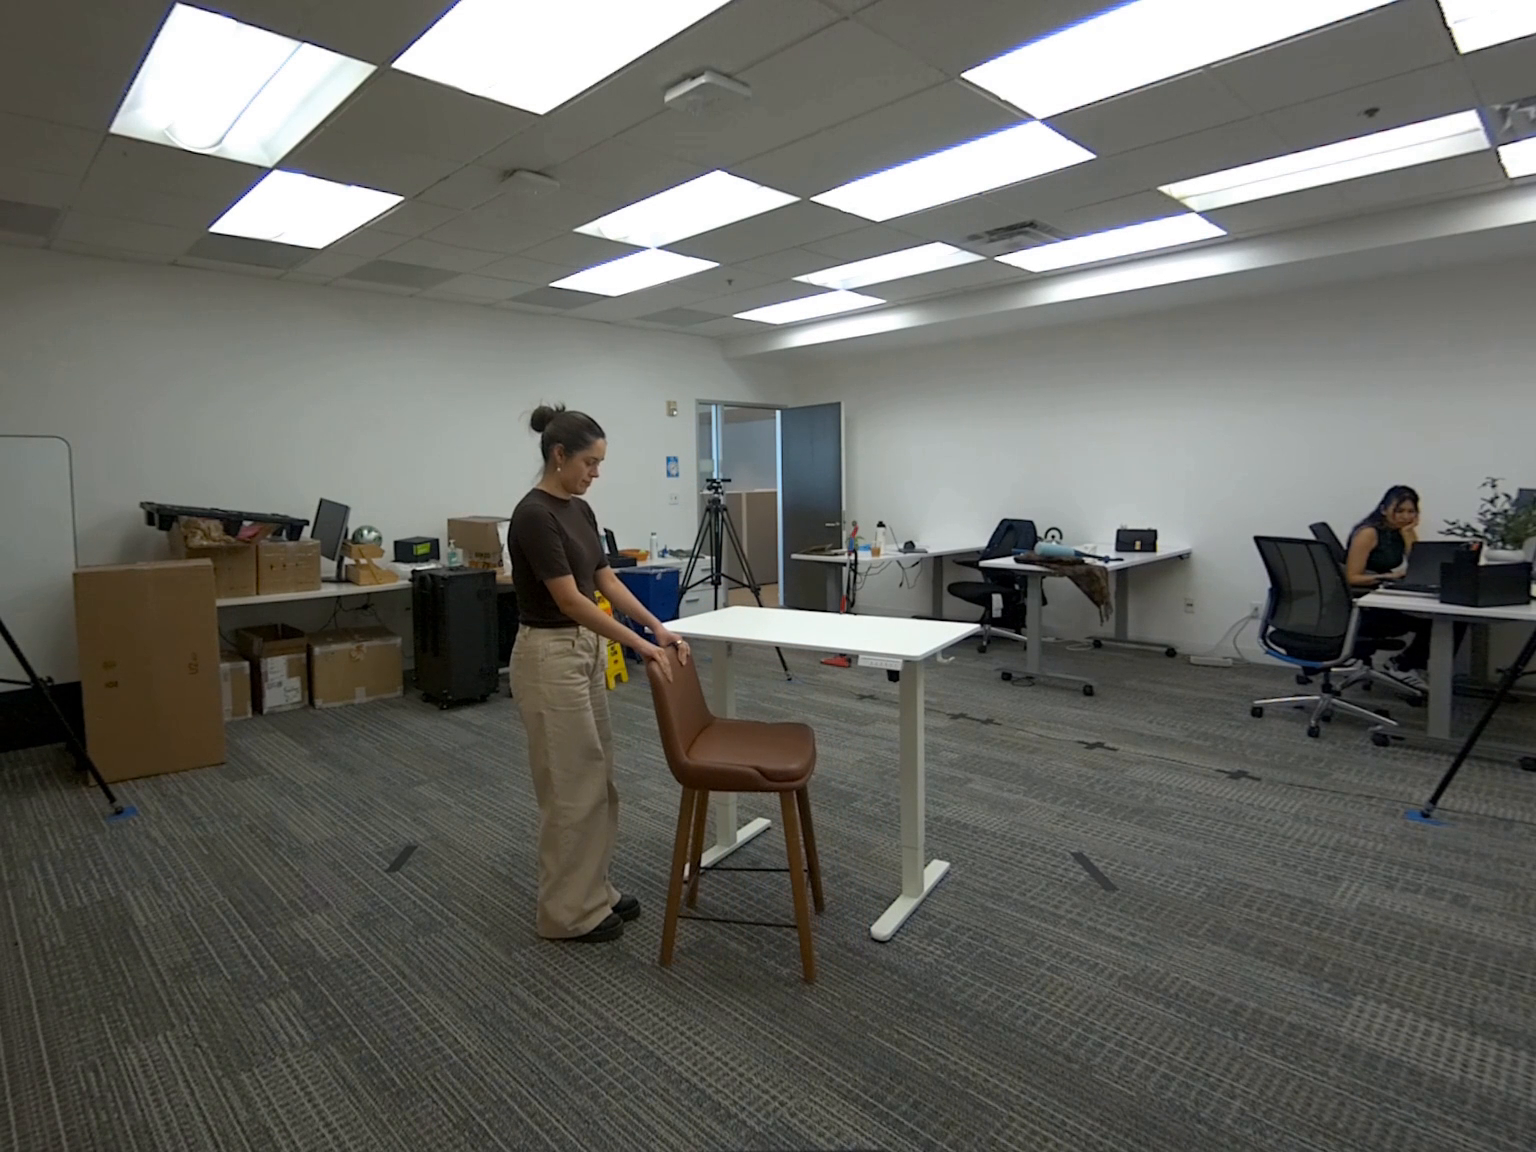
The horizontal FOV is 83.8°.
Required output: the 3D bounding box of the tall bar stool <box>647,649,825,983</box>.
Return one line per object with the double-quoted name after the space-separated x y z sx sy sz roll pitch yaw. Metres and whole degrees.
-0.083 0.664 2.572 0.473 0.887 0.453 -2 3 11 "tall bar stool"
